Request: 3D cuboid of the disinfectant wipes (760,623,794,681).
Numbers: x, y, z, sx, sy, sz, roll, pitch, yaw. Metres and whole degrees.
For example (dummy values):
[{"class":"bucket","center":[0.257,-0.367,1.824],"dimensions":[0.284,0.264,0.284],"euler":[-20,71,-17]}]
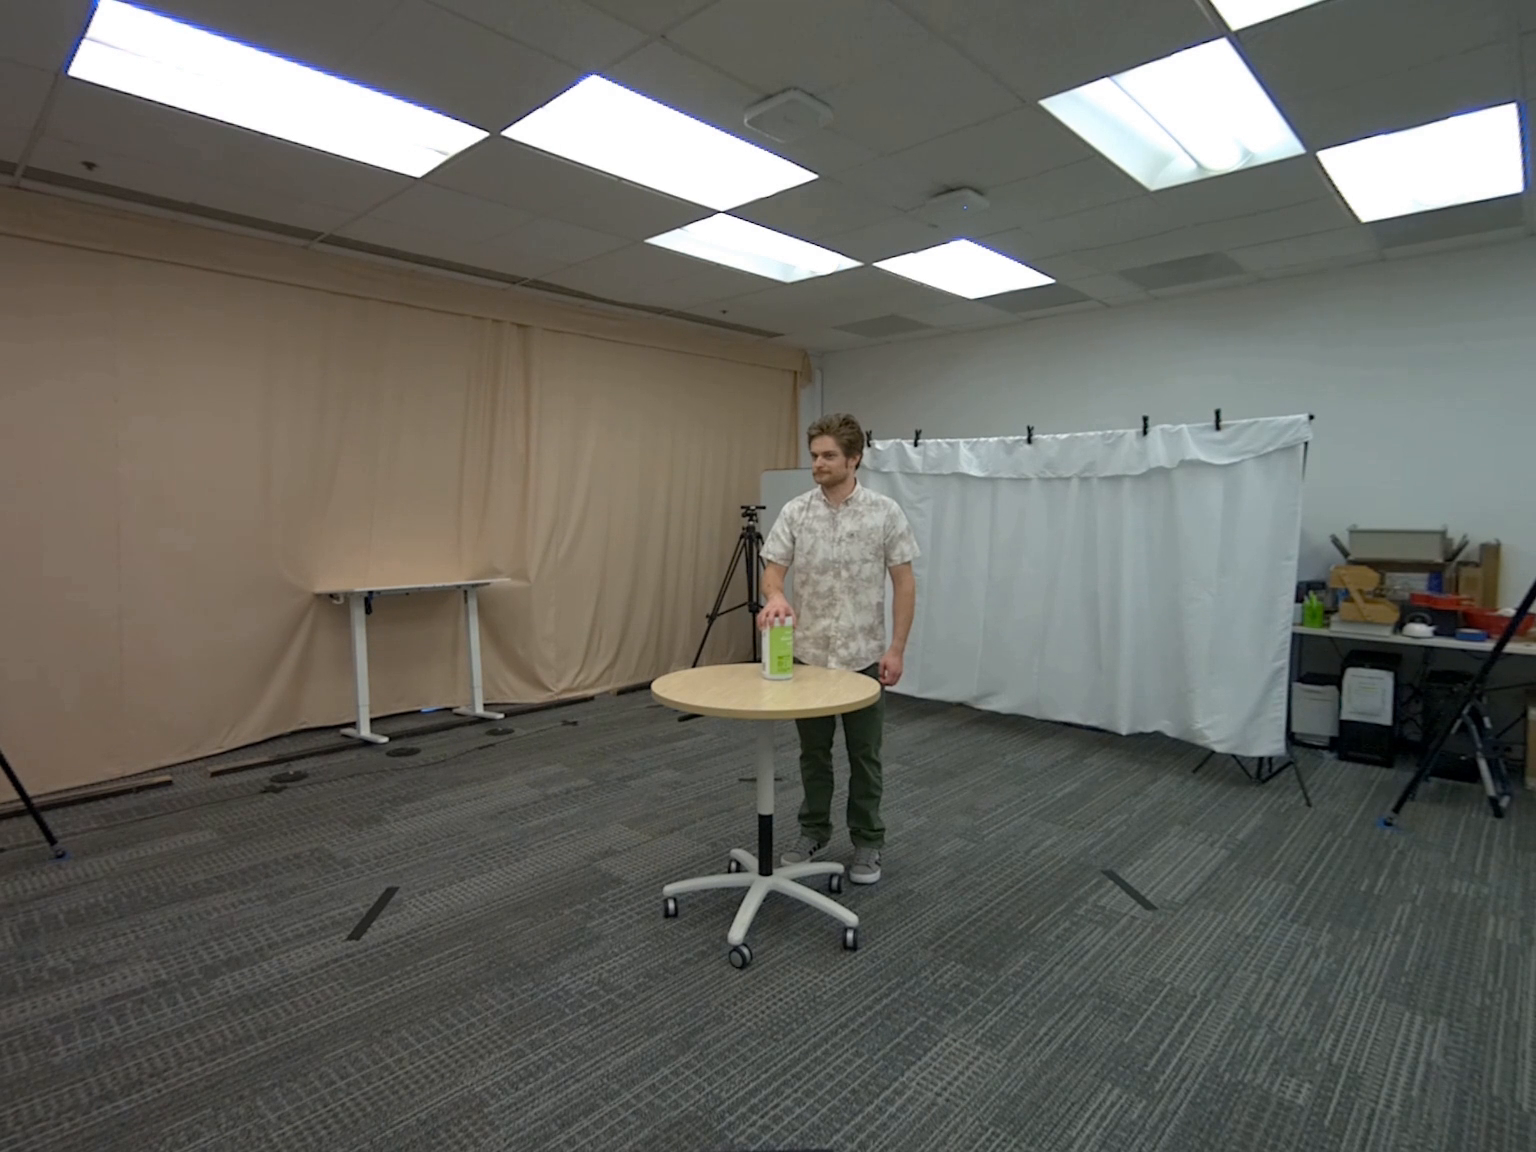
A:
[{"class":"disinfectant wipes","center":[0.032,0.252,2.938],"dimensions":[0.118,0.217,0.118],"euler":[0,4,-2]}]
